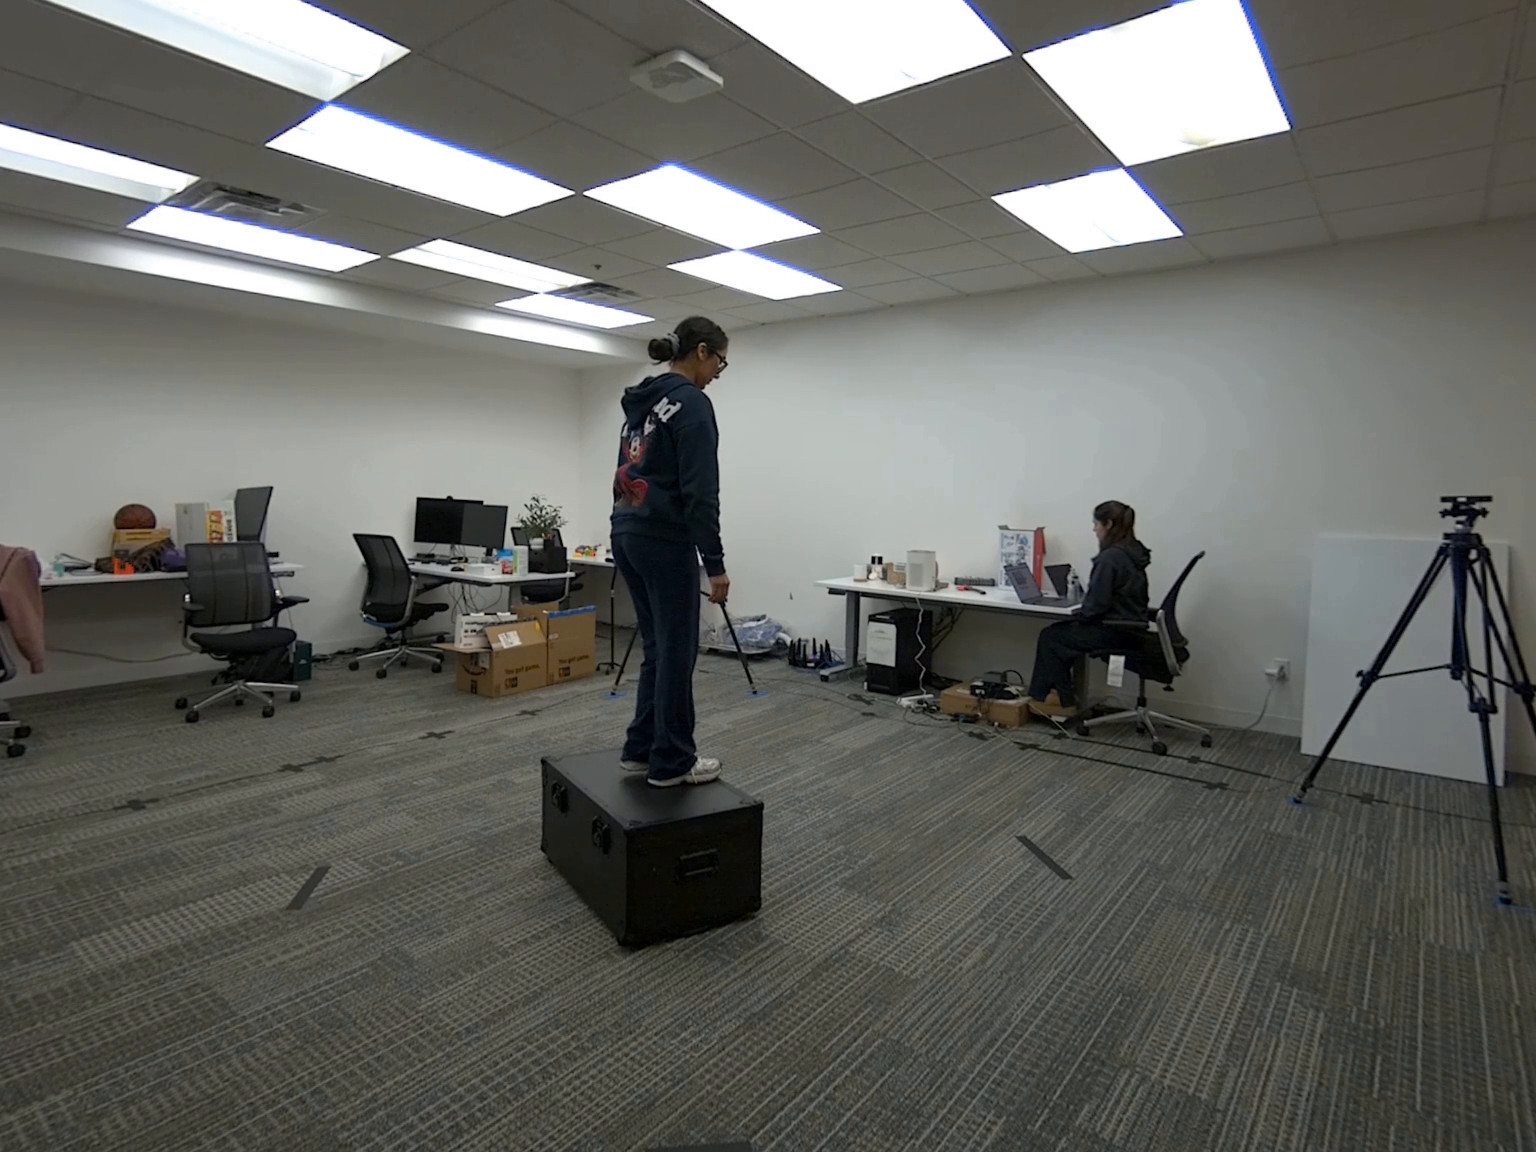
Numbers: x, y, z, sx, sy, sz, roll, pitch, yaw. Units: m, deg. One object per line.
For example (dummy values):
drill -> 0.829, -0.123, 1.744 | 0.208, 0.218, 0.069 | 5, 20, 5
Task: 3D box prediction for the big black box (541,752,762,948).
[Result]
big black box -> -0.470, 0.893, 2.986 | 0.385, 0.520, 0.889 | 0, 4, -35
